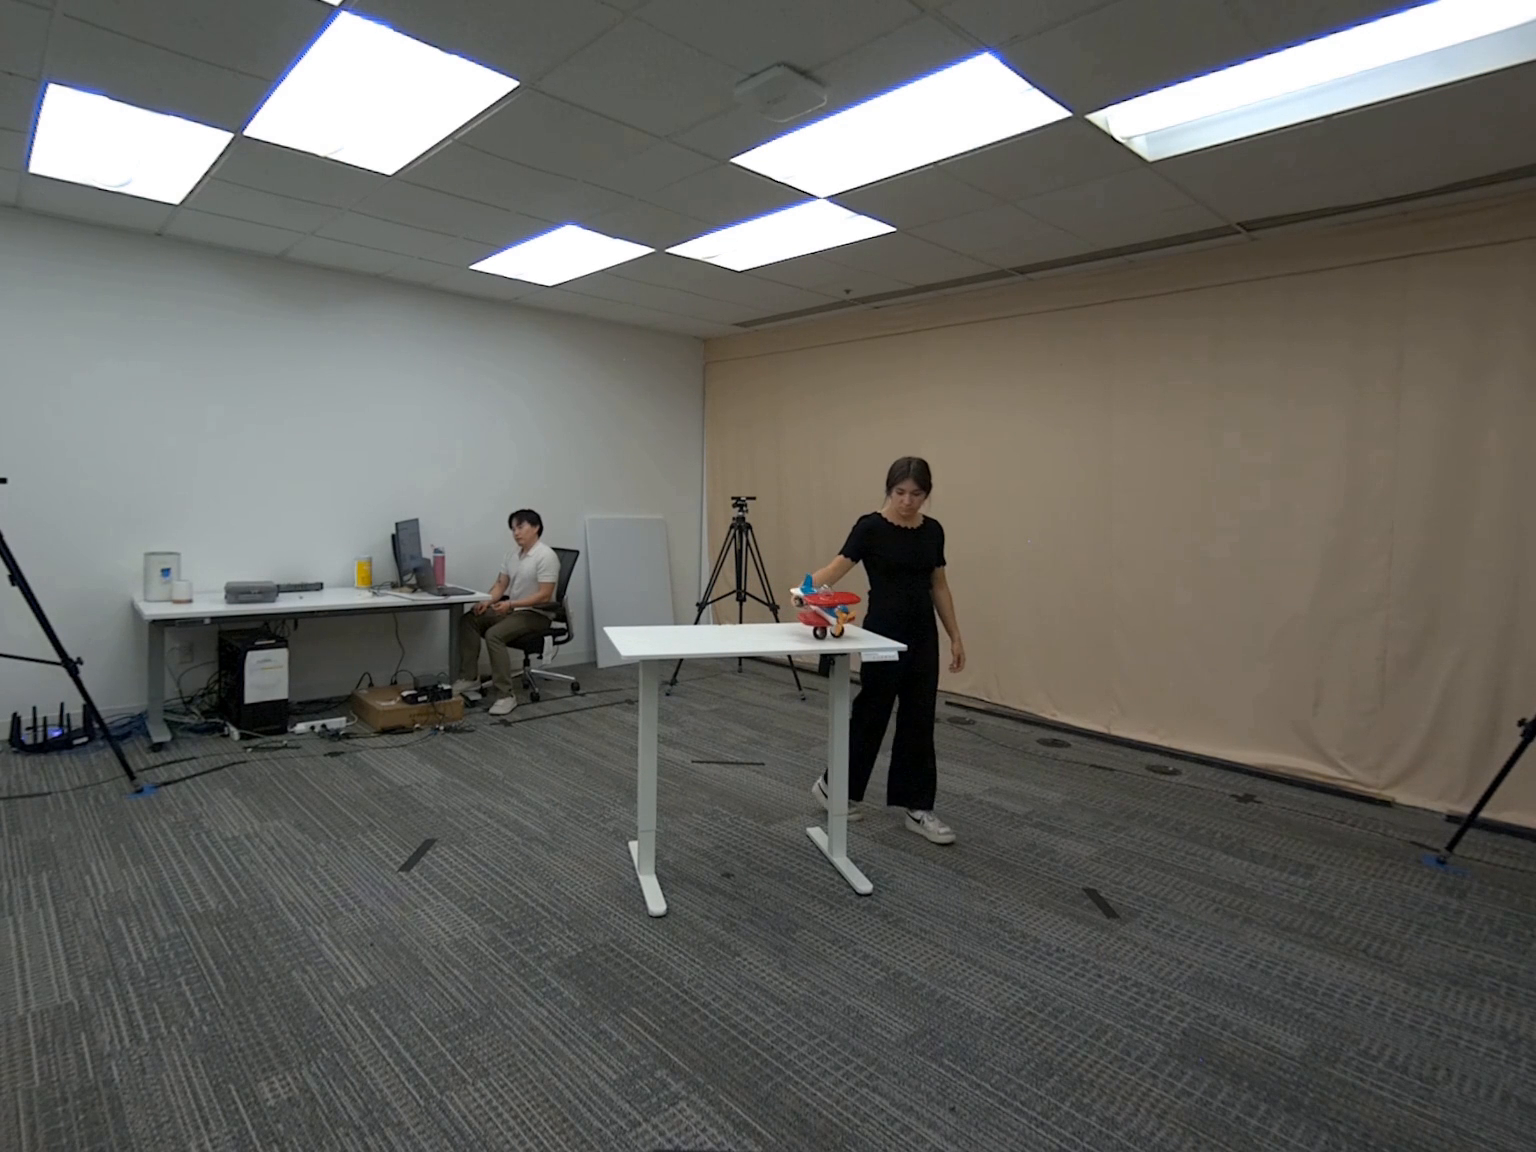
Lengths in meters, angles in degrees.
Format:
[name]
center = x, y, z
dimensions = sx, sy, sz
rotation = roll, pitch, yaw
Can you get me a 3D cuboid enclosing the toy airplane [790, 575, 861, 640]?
[toy airplane]
center = 0.179, 0.114, 3.107
dimensions = 0.263, 0.155, 0.249
rotation = 35, 32, 15
